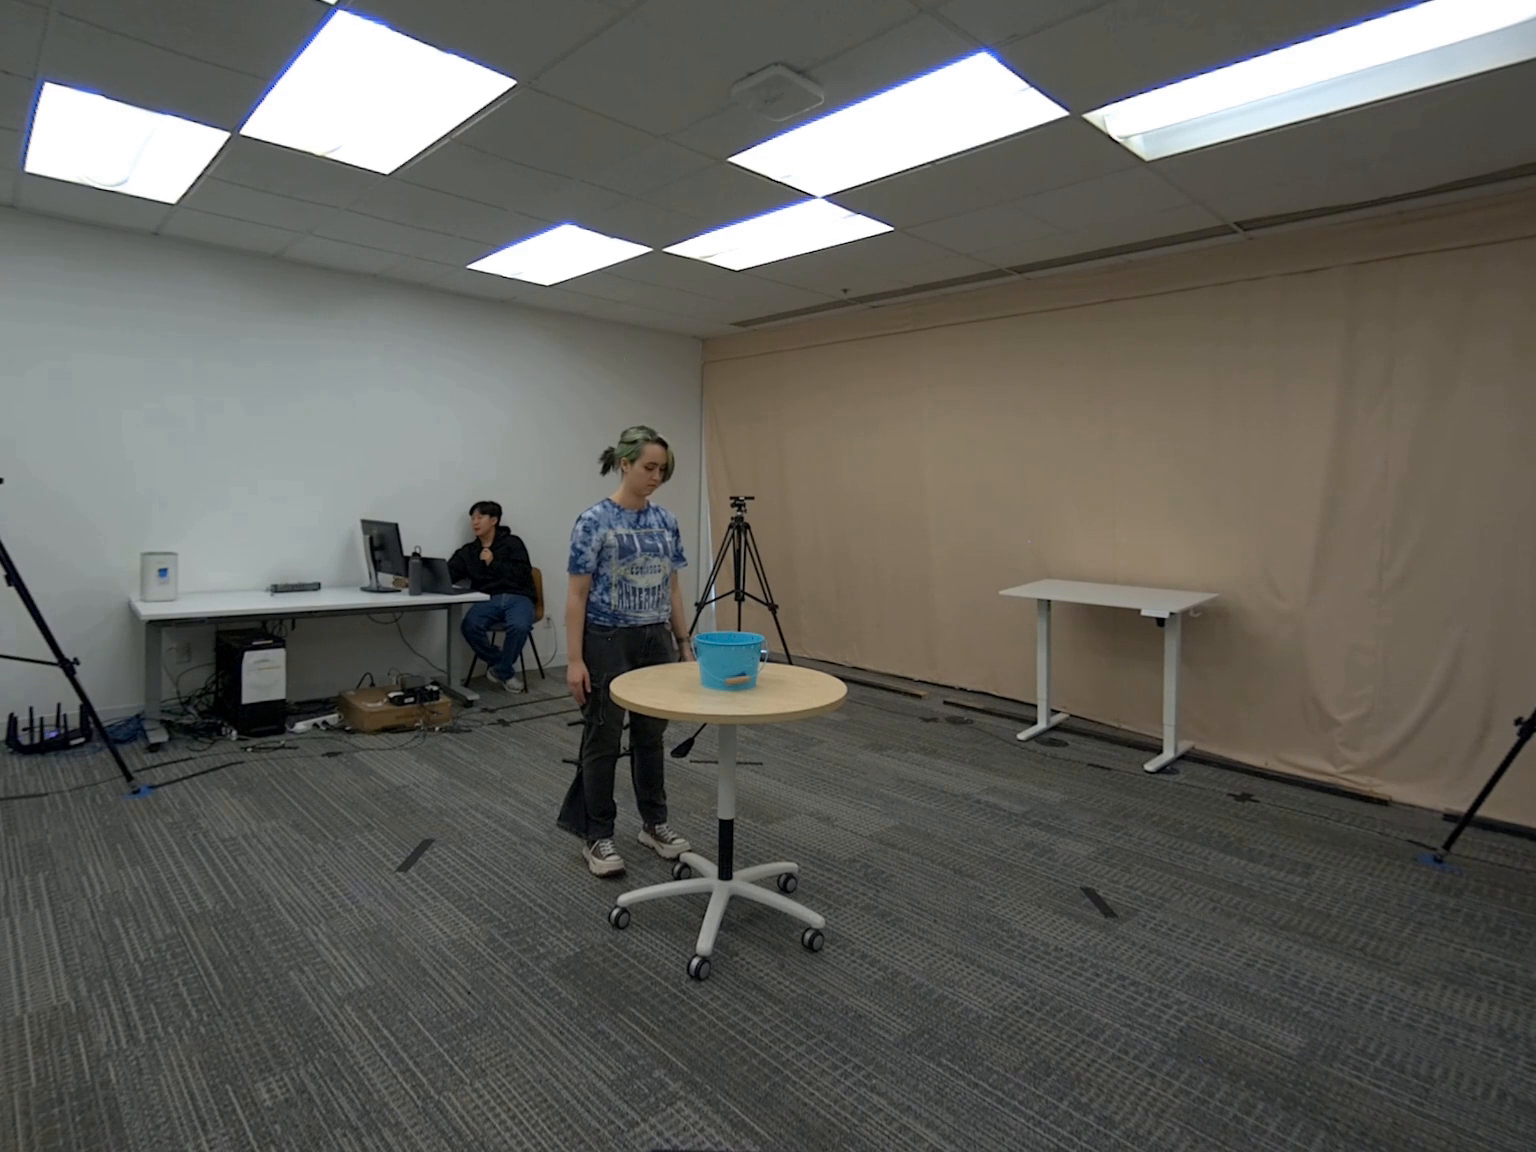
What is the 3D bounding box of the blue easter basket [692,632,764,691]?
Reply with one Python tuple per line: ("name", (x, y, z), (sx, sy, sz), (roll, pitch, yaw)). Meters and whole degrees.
("blue easter basket", (-0.137, 0.283, 2.721), (0.243, 0.155, 0.244), (1, 4, -1))
